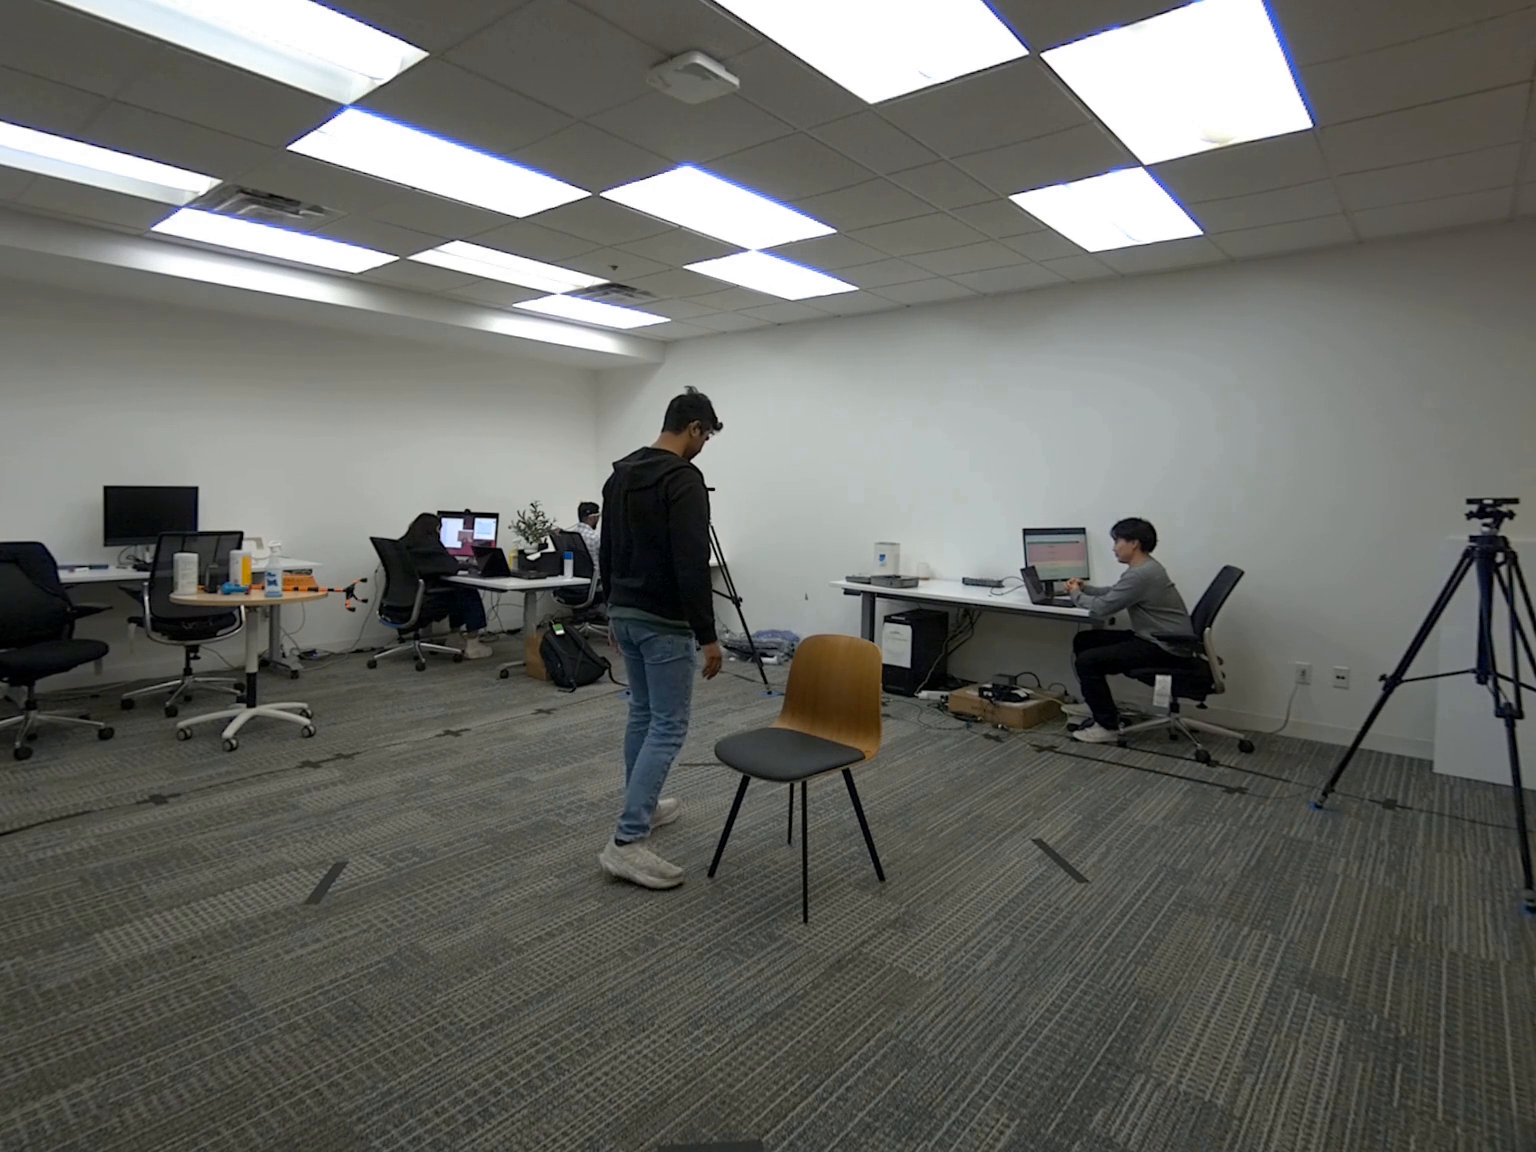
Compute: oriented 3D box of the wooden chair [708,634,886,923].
[{"bbox_3d":[0.098,0.658,3.008,0.494,0.877,0.506,5,1,43],"label":"wooden chair"}]
